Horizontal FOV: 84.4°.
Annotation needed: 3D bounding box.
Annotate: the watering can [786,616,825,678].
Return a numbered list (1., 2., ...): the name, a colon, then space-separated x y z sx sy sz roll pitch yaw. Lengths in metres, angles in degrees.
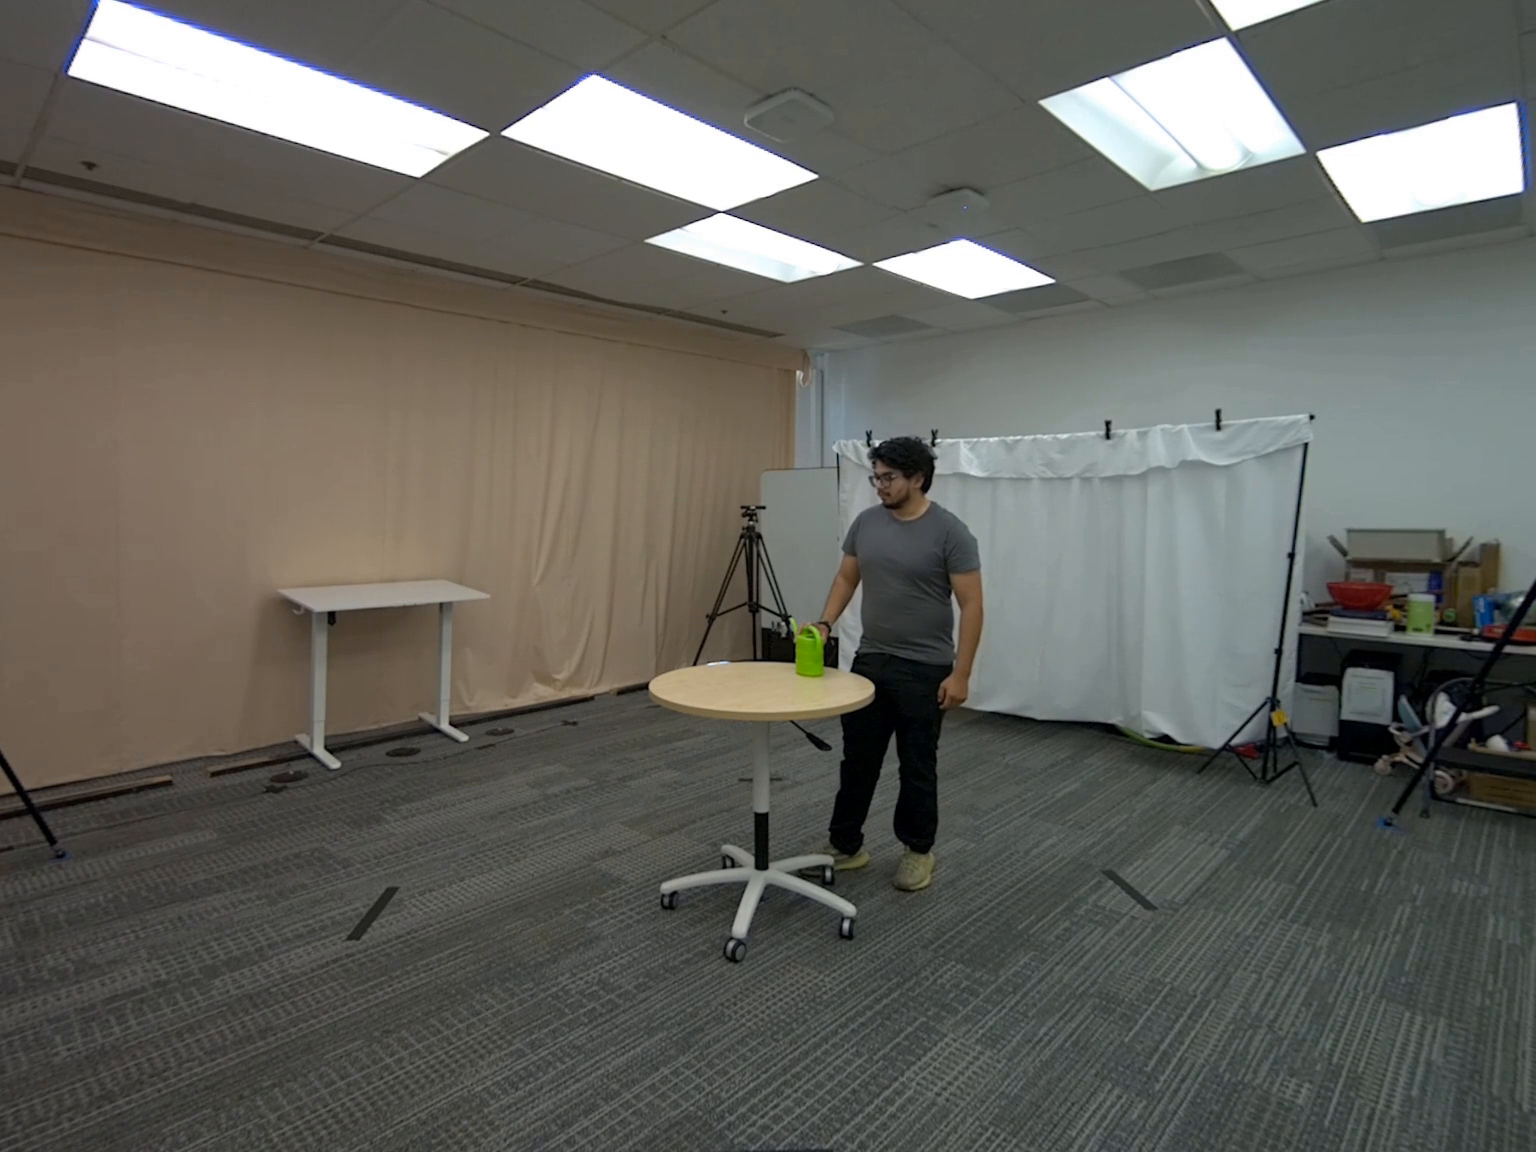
1. watering can: 0.150 0.266 3.085 0.097 0.176 0.282 -2 7 -9
